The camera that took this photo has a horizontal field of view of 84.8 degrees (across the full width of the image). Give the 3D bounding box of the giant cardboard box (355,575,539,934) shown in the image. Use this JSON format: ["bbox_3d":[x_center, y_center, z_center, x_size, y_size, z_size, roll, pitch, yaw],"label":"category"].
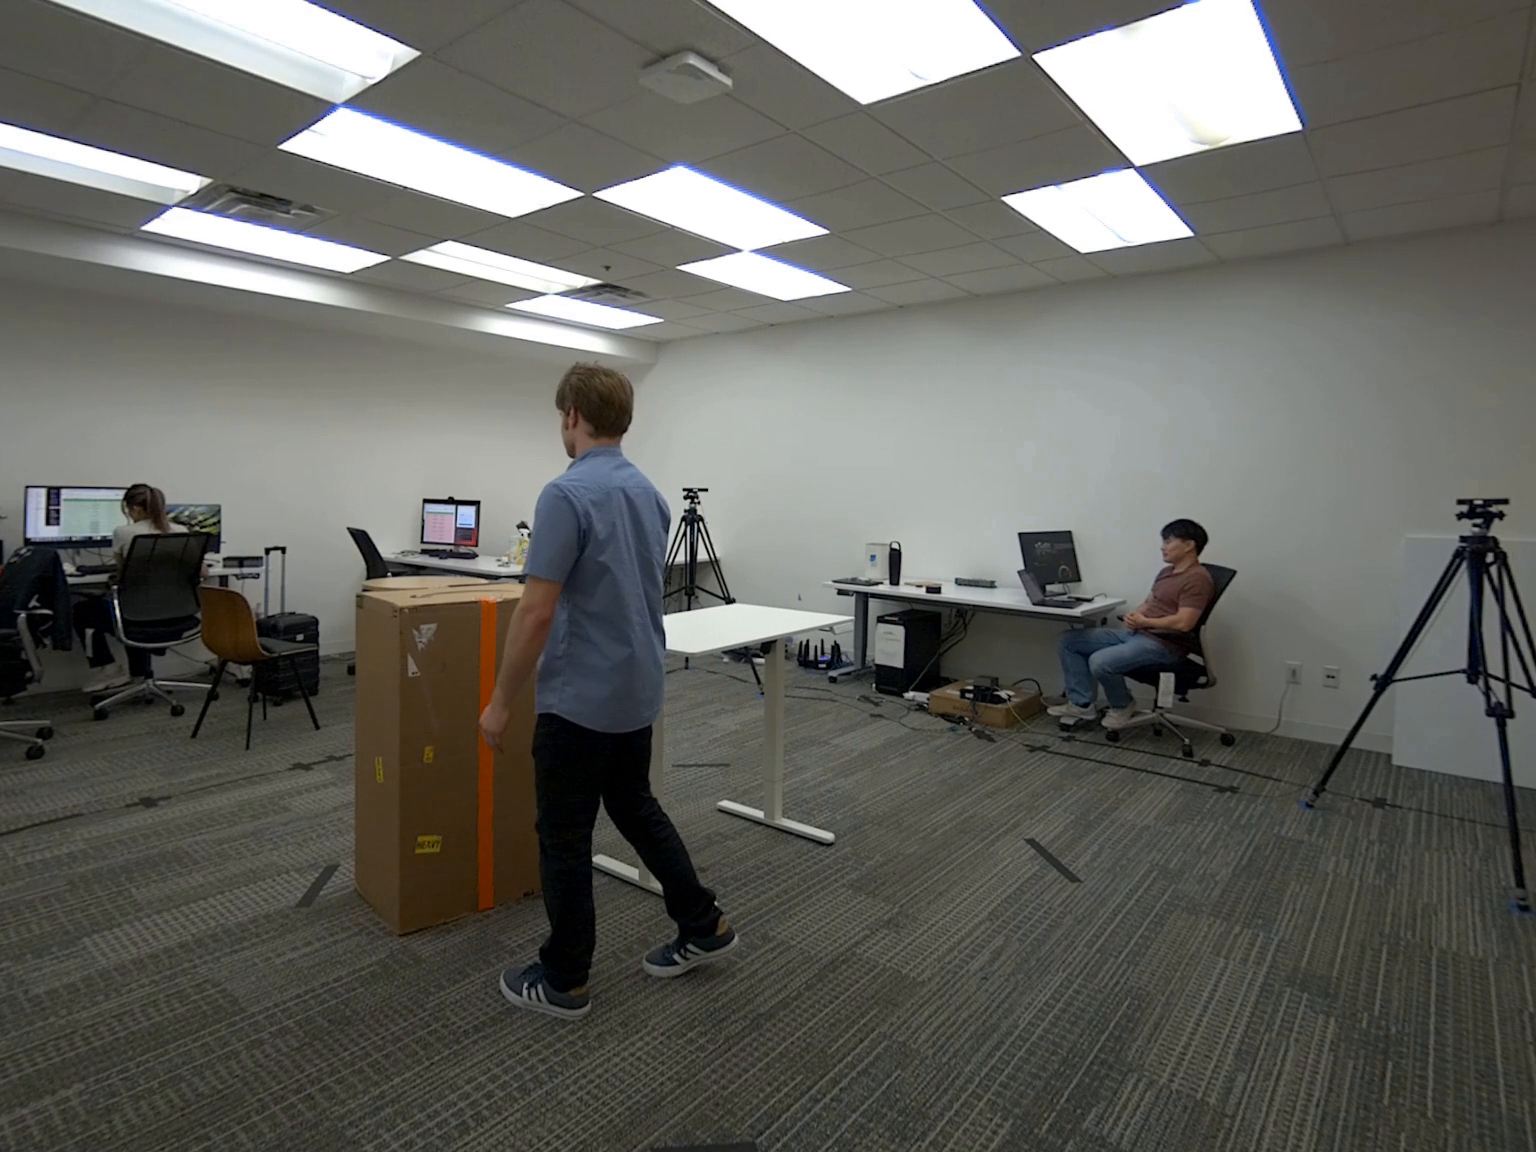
[{"bbox_3d":[-1.070,0.565,2.919,0.560,1.023,0.441,-2,5,-42],"label":"giant cardboard box"}]
